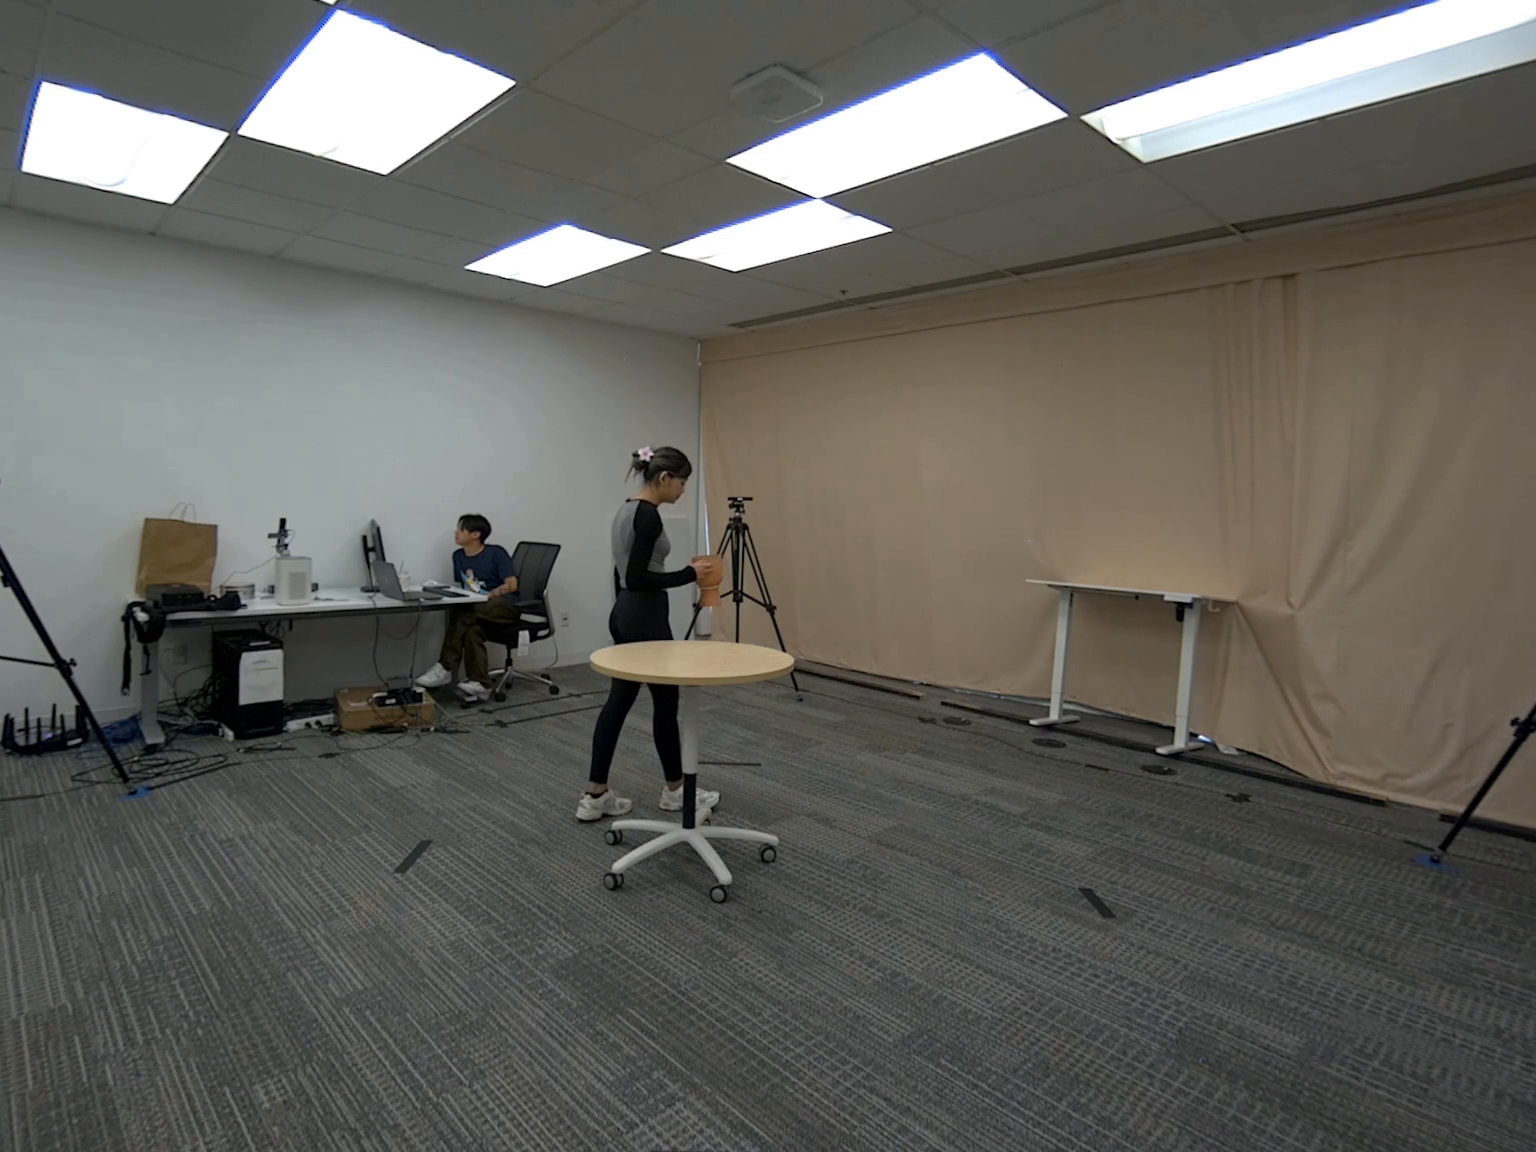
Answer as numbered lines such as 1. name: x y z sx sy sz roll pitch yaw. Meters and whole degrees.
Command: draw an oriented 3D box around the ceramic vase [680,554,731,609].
1. ceramic vase: -0.278 0.019 3.738 0.138 0.219 0.155 -1 4 43
